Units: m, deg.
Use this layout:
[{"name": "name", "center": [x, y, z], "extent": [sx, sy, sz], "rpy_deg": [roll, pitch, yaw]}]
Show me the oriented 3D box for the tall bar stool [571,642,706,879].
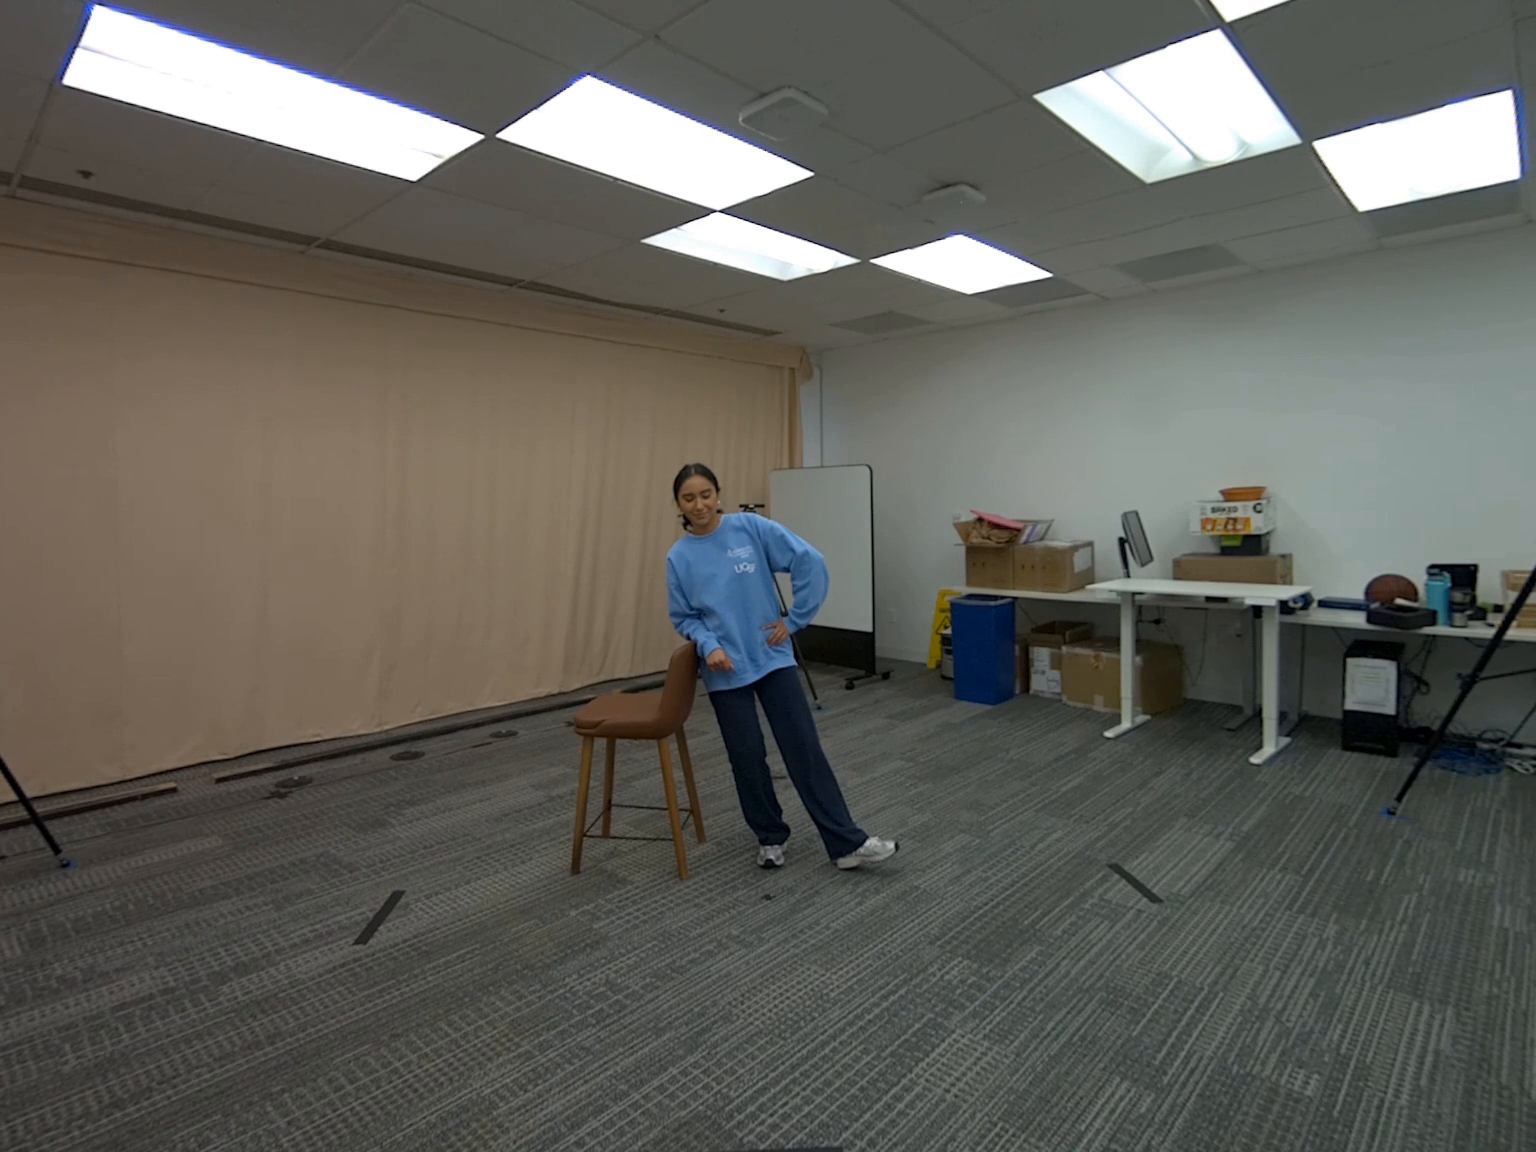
[{"name": "tall bar stool", "center": [-0.509, 0.687, 3.339], "extent": [0.473, 0.888, 0.452], "rpy_deg": [1, 4, 9]}]
